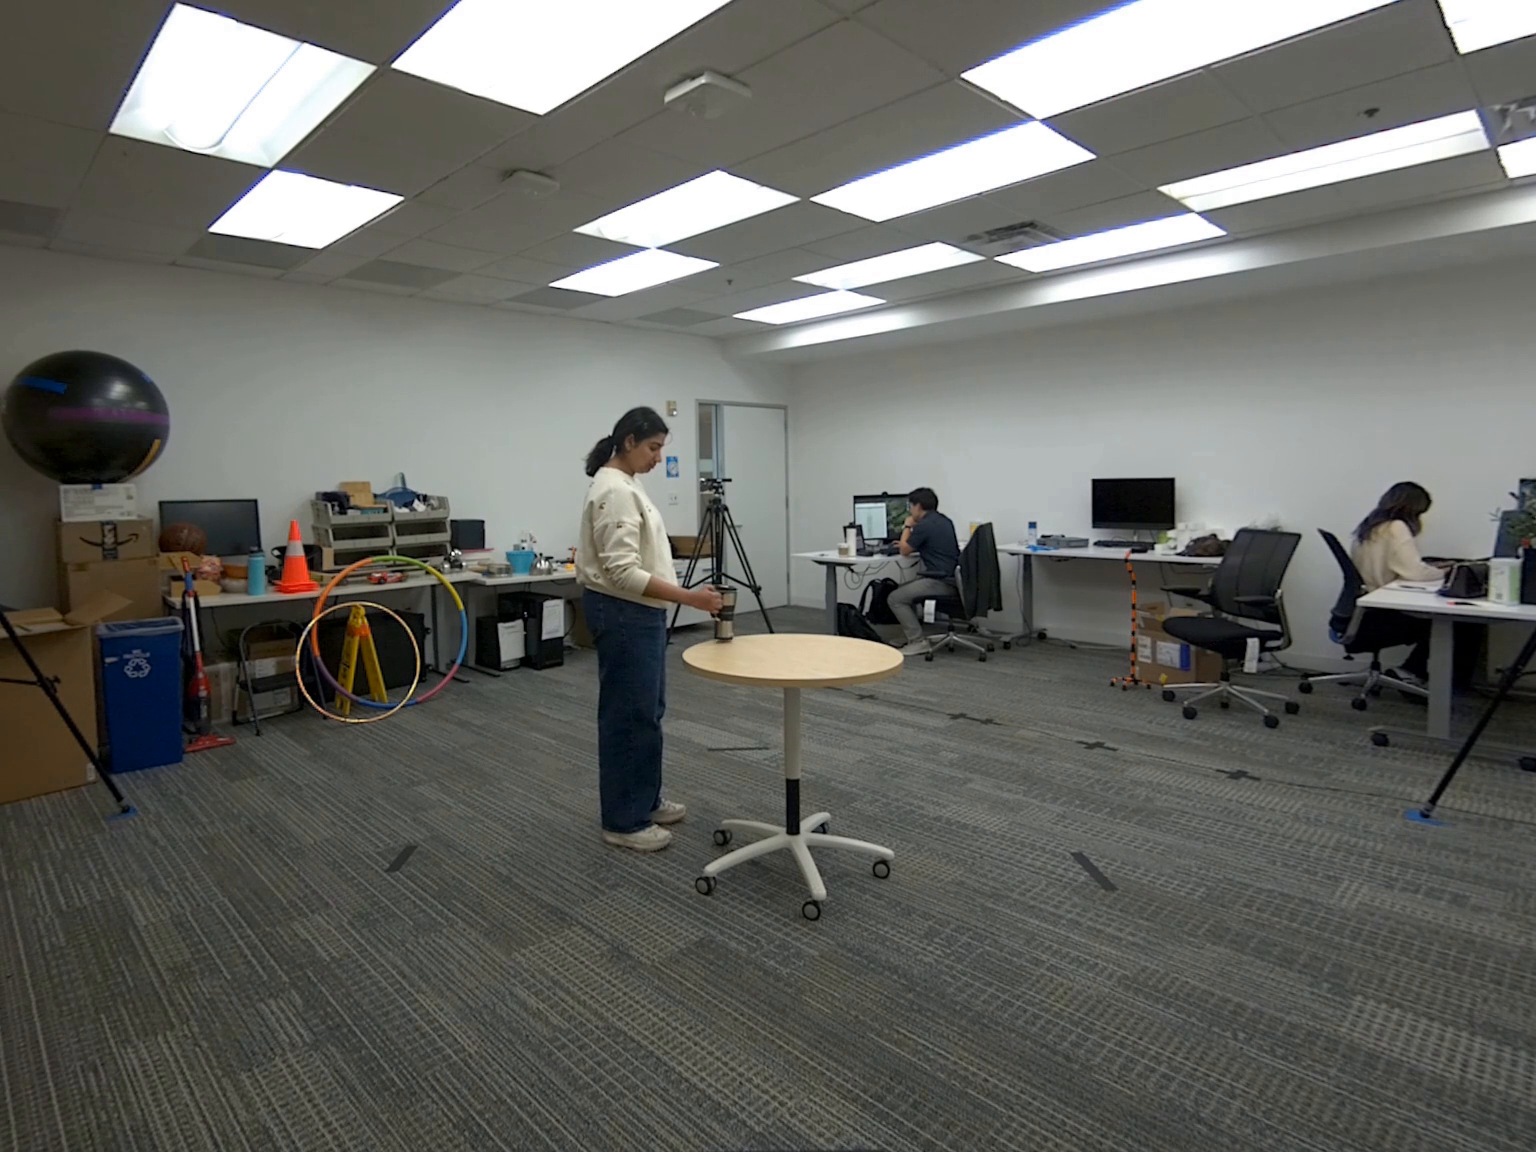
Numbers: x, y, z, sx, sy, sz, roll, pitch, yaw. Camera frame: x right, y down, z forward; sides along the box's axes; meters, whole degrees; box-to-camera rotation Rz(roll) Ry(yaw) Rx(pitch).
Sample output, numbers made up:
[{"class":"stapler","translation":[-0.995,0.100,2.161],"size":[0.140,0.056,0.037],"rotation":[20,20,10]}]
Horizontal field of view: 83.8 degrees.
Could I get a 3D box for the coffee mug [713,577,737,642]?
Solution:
[{"class":"coffee mug","translation":[-0.186,0.133,3.205],"size":[0.120,0.202,0.090],"rotation":[3,7,-19]}]
